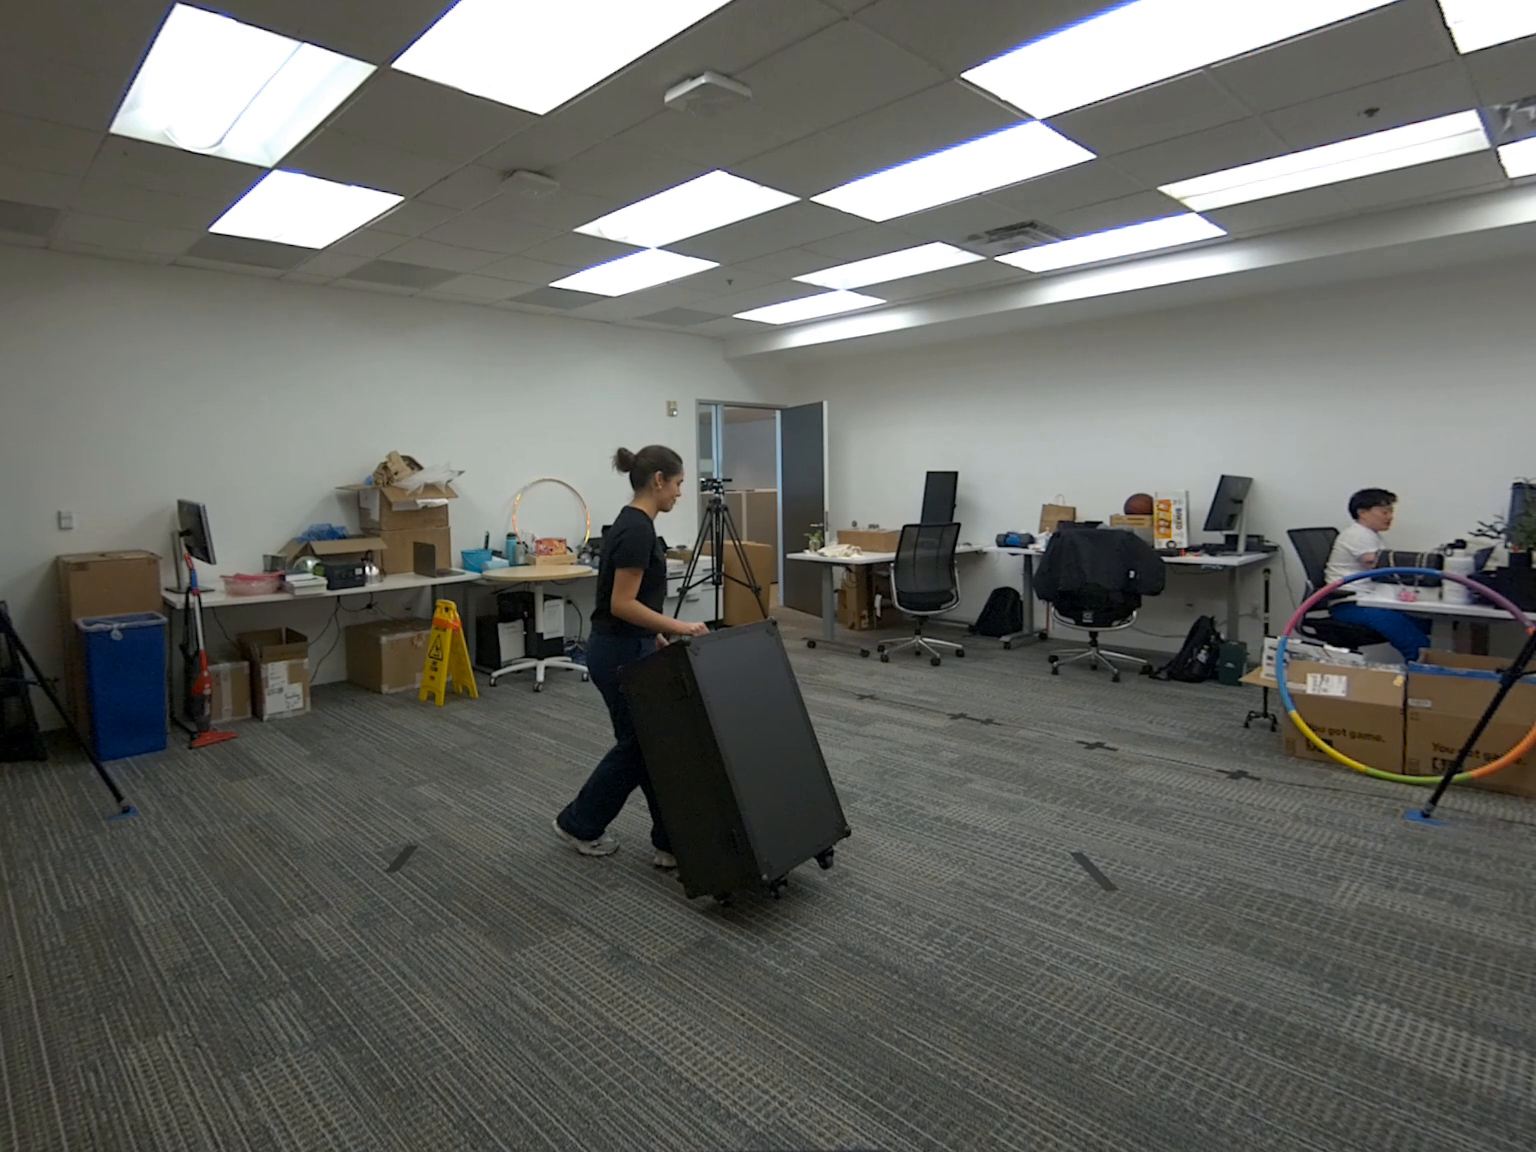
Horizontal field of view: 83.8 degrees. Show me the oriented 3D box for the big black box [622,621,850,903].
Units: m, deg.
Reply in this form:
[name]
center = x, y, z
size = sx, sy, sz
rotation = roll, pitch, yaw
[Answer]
[big black box]
center = -0.119, 0.635, 2.923
size = 0.401, 0.874, 0.508
rotation = -29, -14, 37
